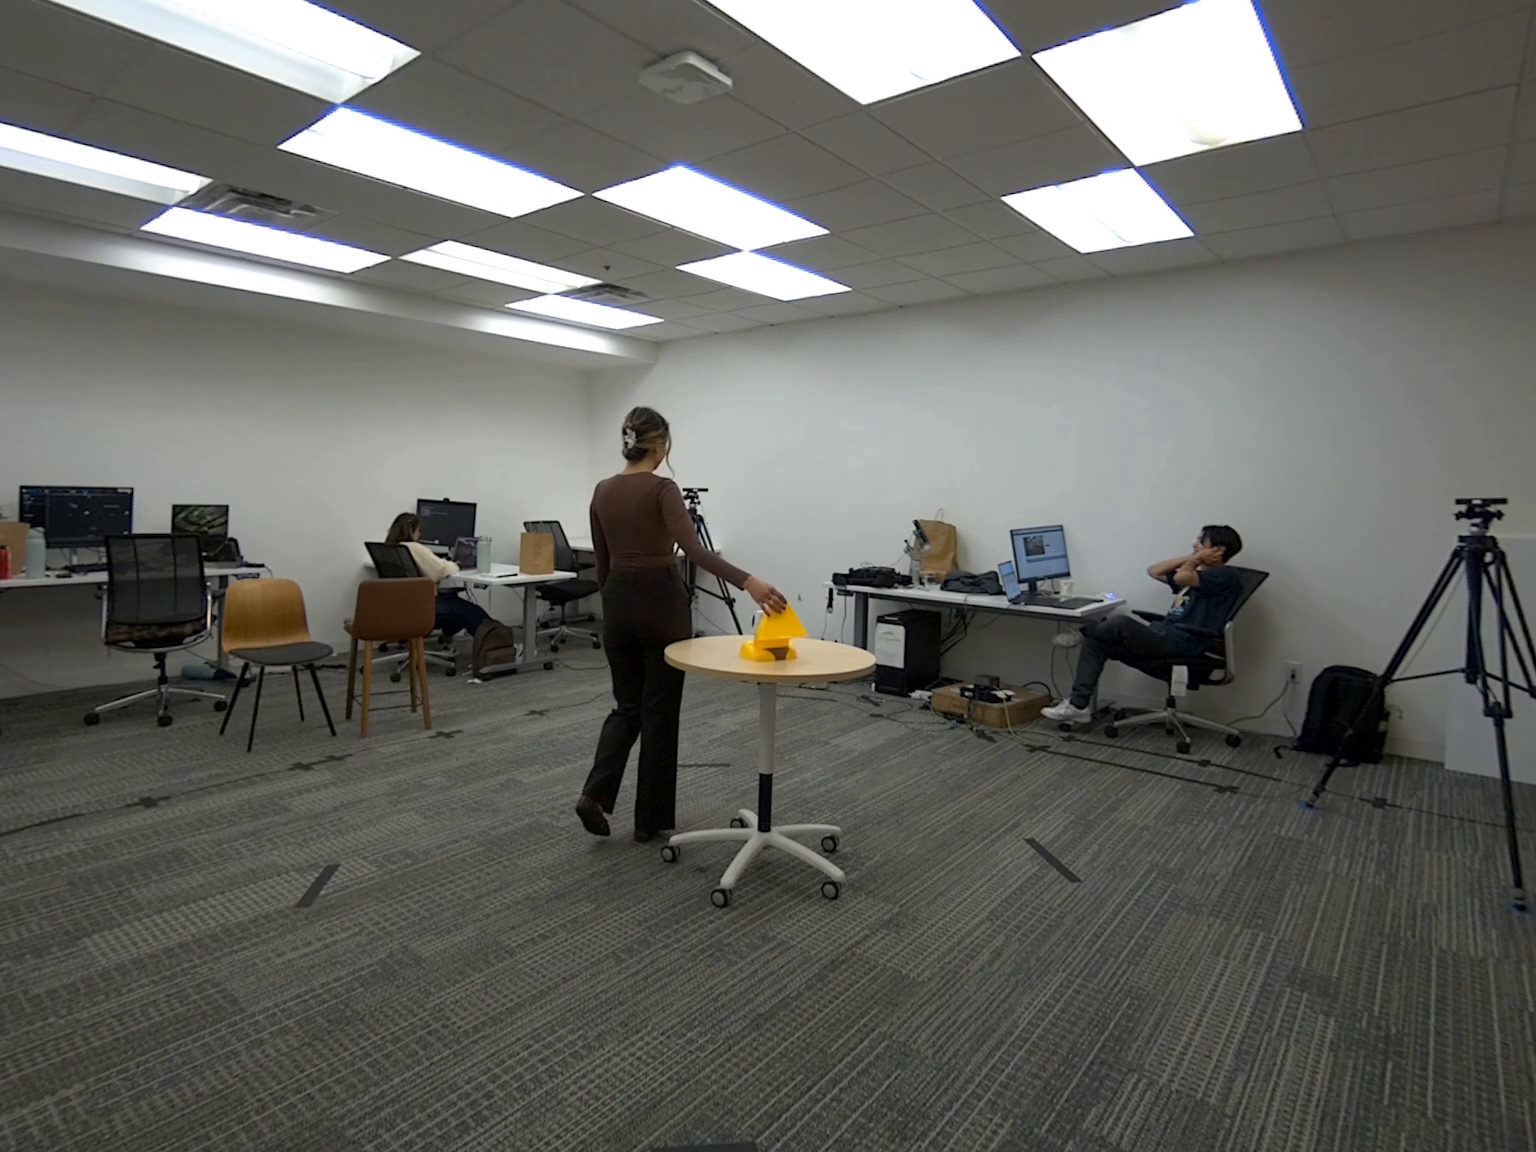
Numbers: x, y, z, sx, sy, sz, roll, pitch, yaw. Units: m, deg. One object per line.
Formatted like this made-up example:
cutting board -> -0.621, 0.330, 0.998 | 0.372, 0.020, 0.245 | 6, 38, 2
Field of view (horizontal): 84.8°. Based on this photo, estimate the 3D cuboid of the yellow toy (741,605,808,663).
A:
yellow toy -> -0.002, 0.171, 3.026 | 0.199, 0.230, 0.199 | 0, 4, -33
